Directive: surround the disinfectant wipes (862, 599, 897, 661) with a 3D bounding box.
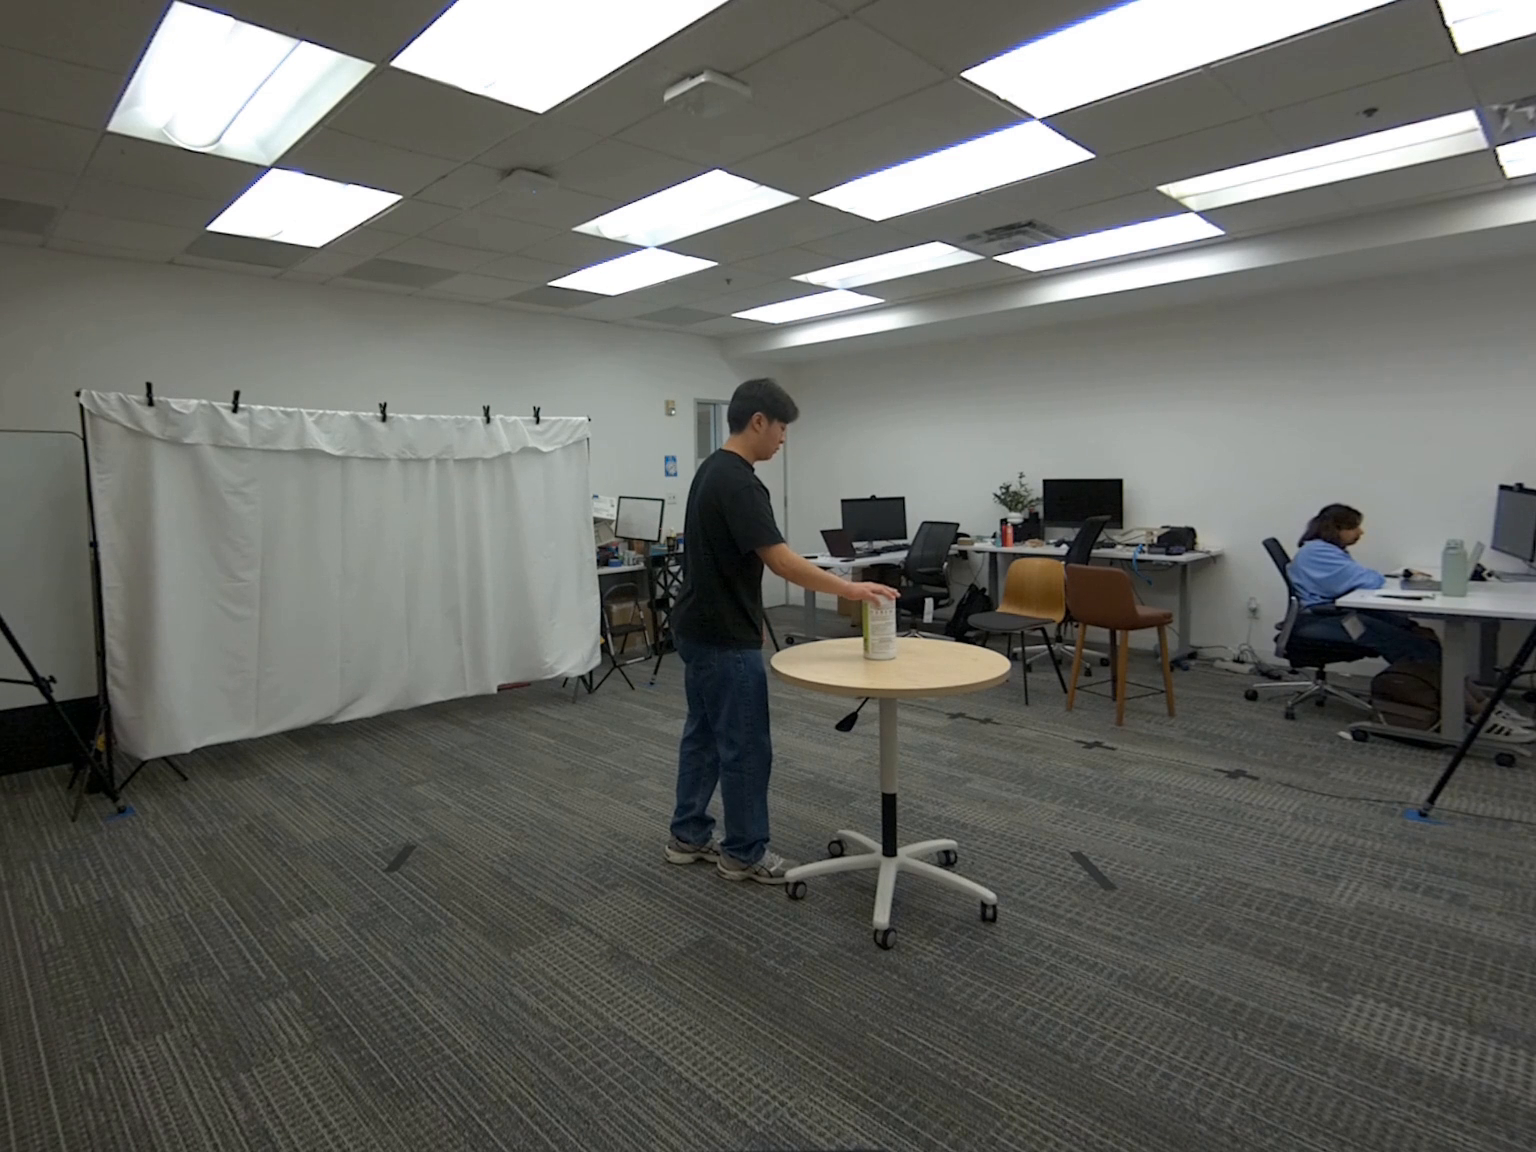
[{"bbox_3d":[0.372,0.164,2.827,0.118,0.217,0.118,-4,2,-2],"label":"disinfectant wipes"}]
